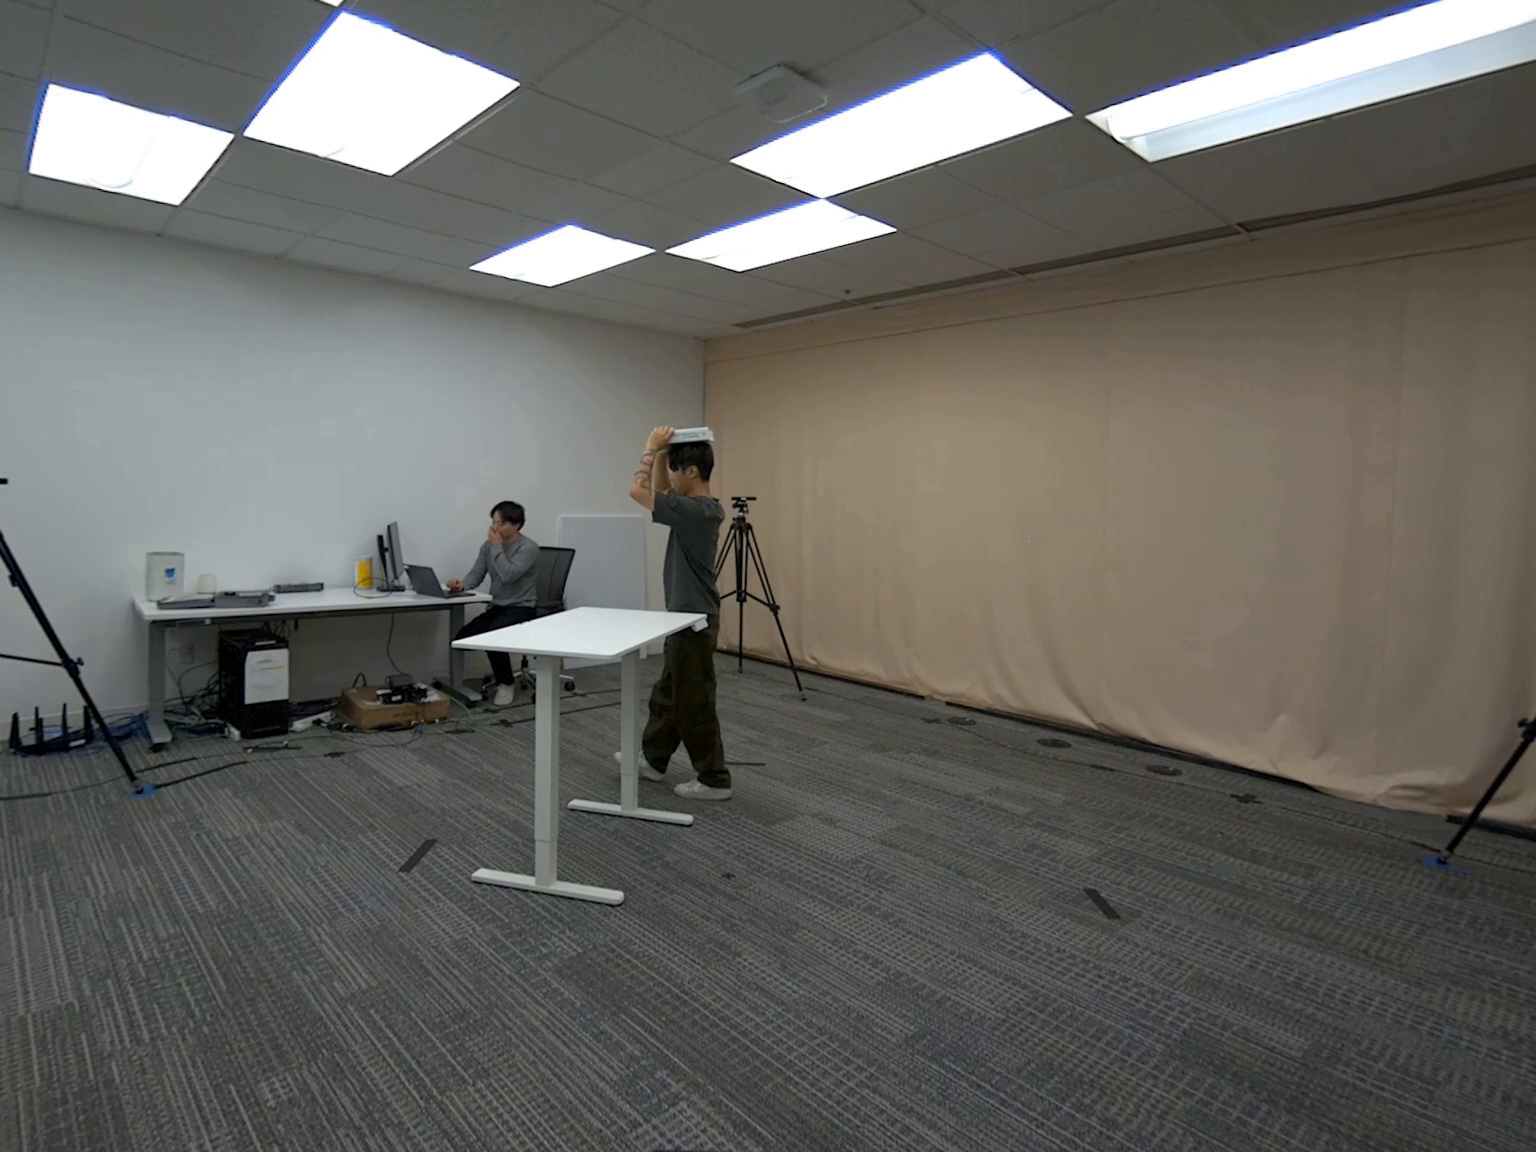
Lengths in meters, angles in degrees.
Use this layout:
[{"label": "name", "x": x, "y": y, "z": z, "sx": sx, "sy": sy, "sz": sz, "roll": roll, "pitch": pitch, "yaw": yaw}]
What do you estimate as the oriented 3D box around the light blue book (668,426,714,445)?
[{"label": "light blue book", "x": -0.408, "y": -0.643, "z": 3.878, "sx": 0.262, "sy": 0.059, "sz": 0.191, "roll": -4, "pitch": 6, "yaw": 4}]
